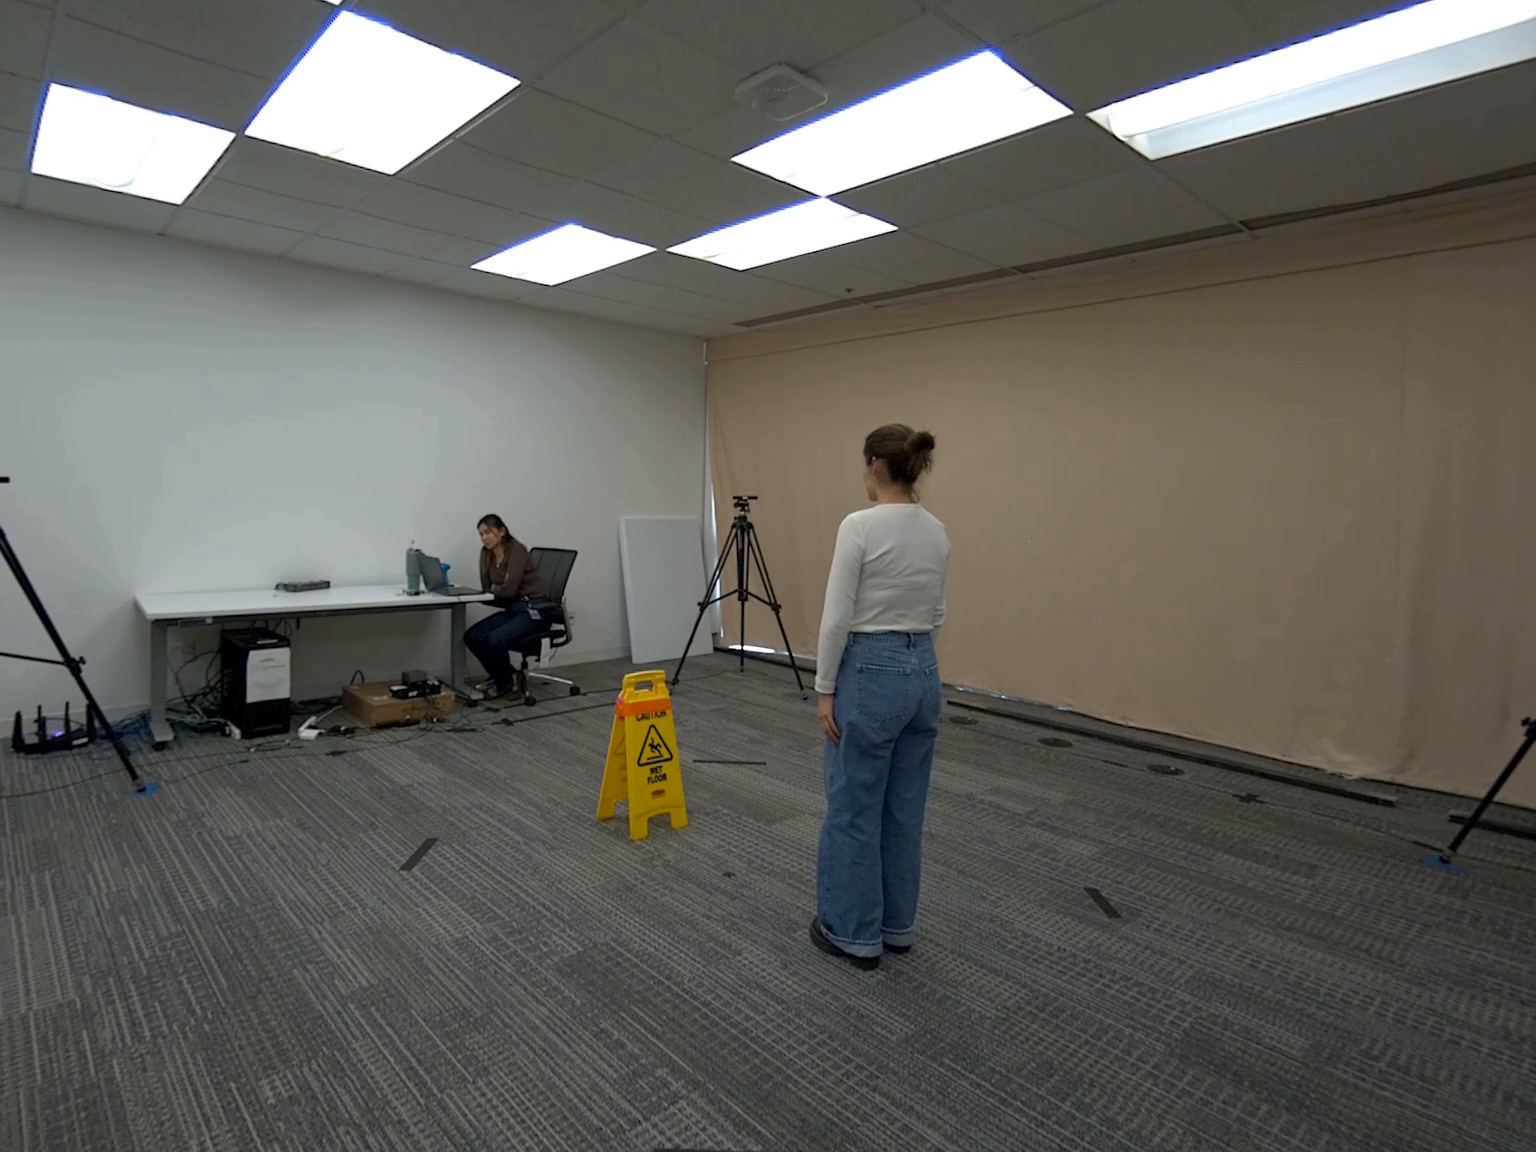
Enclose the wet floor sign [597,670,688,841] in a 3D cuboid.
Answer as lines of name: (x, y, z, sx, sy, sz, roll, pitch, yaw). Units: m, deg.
wet floor sign: (-0.540, 0.729, 3.569, 0.275, 0.645, 0.297, 0, 3, -41)
